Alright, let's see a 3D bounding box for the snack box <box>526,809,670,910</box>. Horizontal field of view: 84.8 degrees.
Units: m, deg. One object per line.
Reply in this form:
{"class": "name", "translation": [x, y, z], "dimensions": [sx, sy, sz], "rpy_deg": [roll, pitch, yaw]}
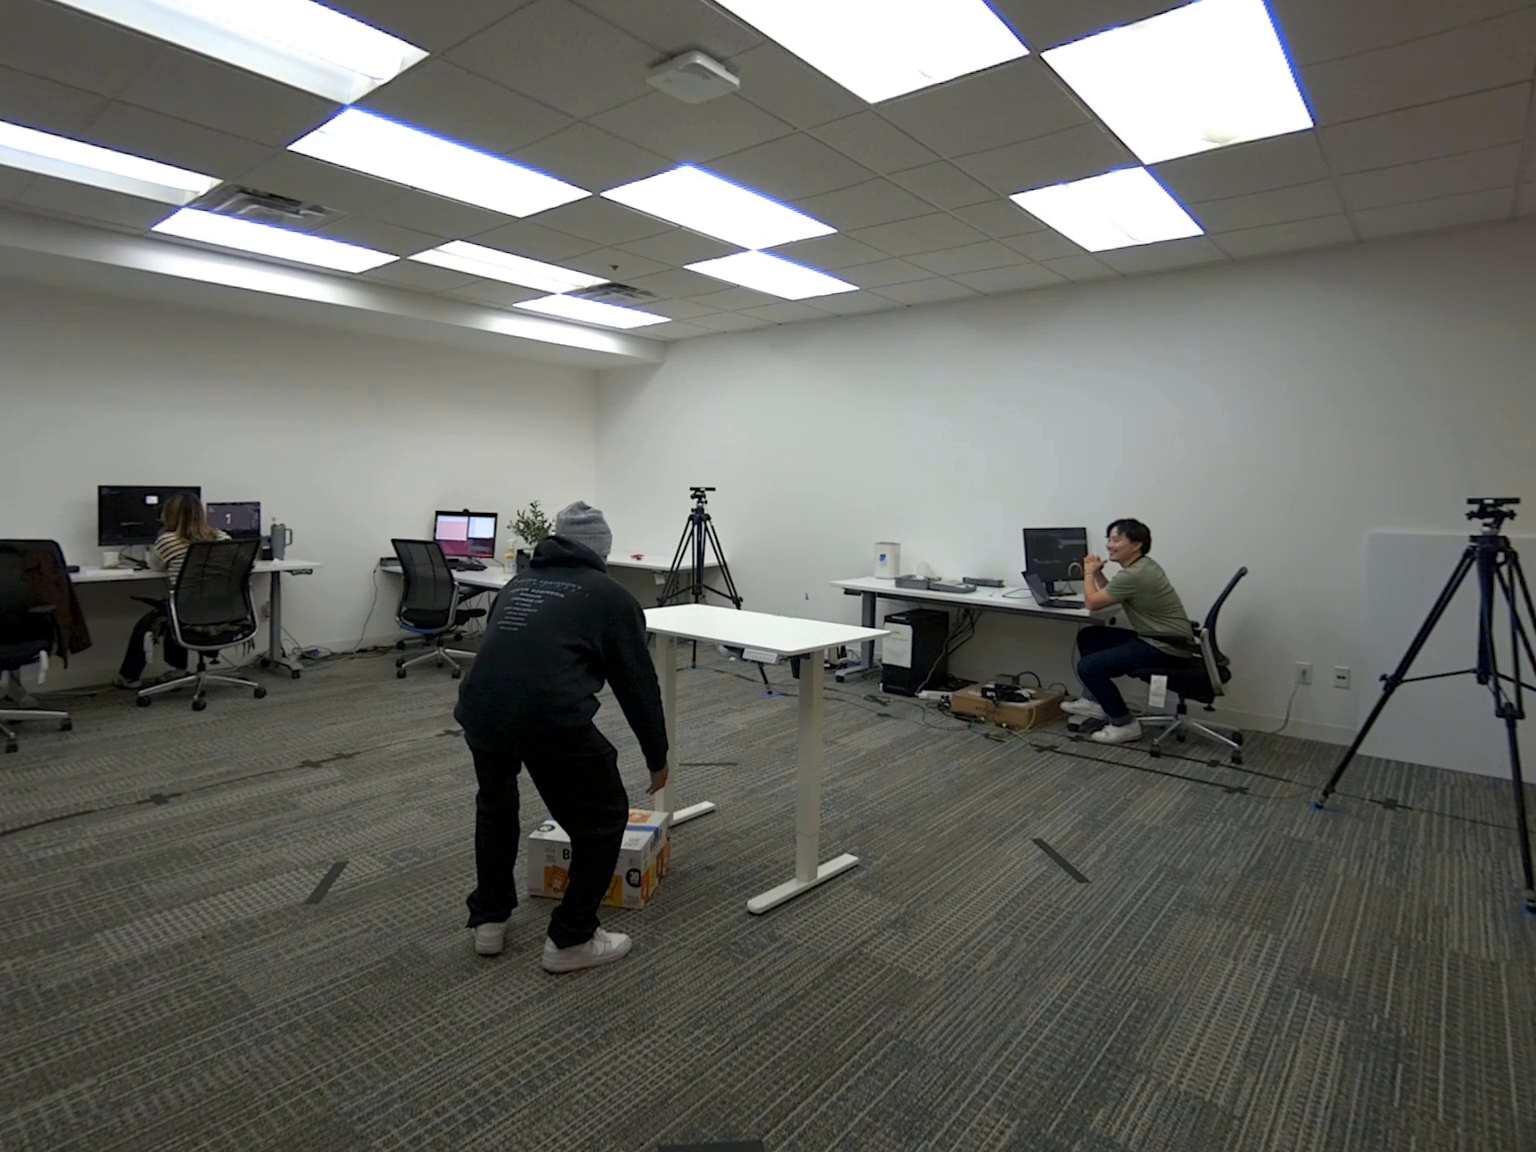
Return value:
{"class": "snack box", "translation": [-0.597, 0.972, 2.986], "dimensions": [0.411, 0.205, 0.337], "rpy_deg": [2, 4, 12]}
